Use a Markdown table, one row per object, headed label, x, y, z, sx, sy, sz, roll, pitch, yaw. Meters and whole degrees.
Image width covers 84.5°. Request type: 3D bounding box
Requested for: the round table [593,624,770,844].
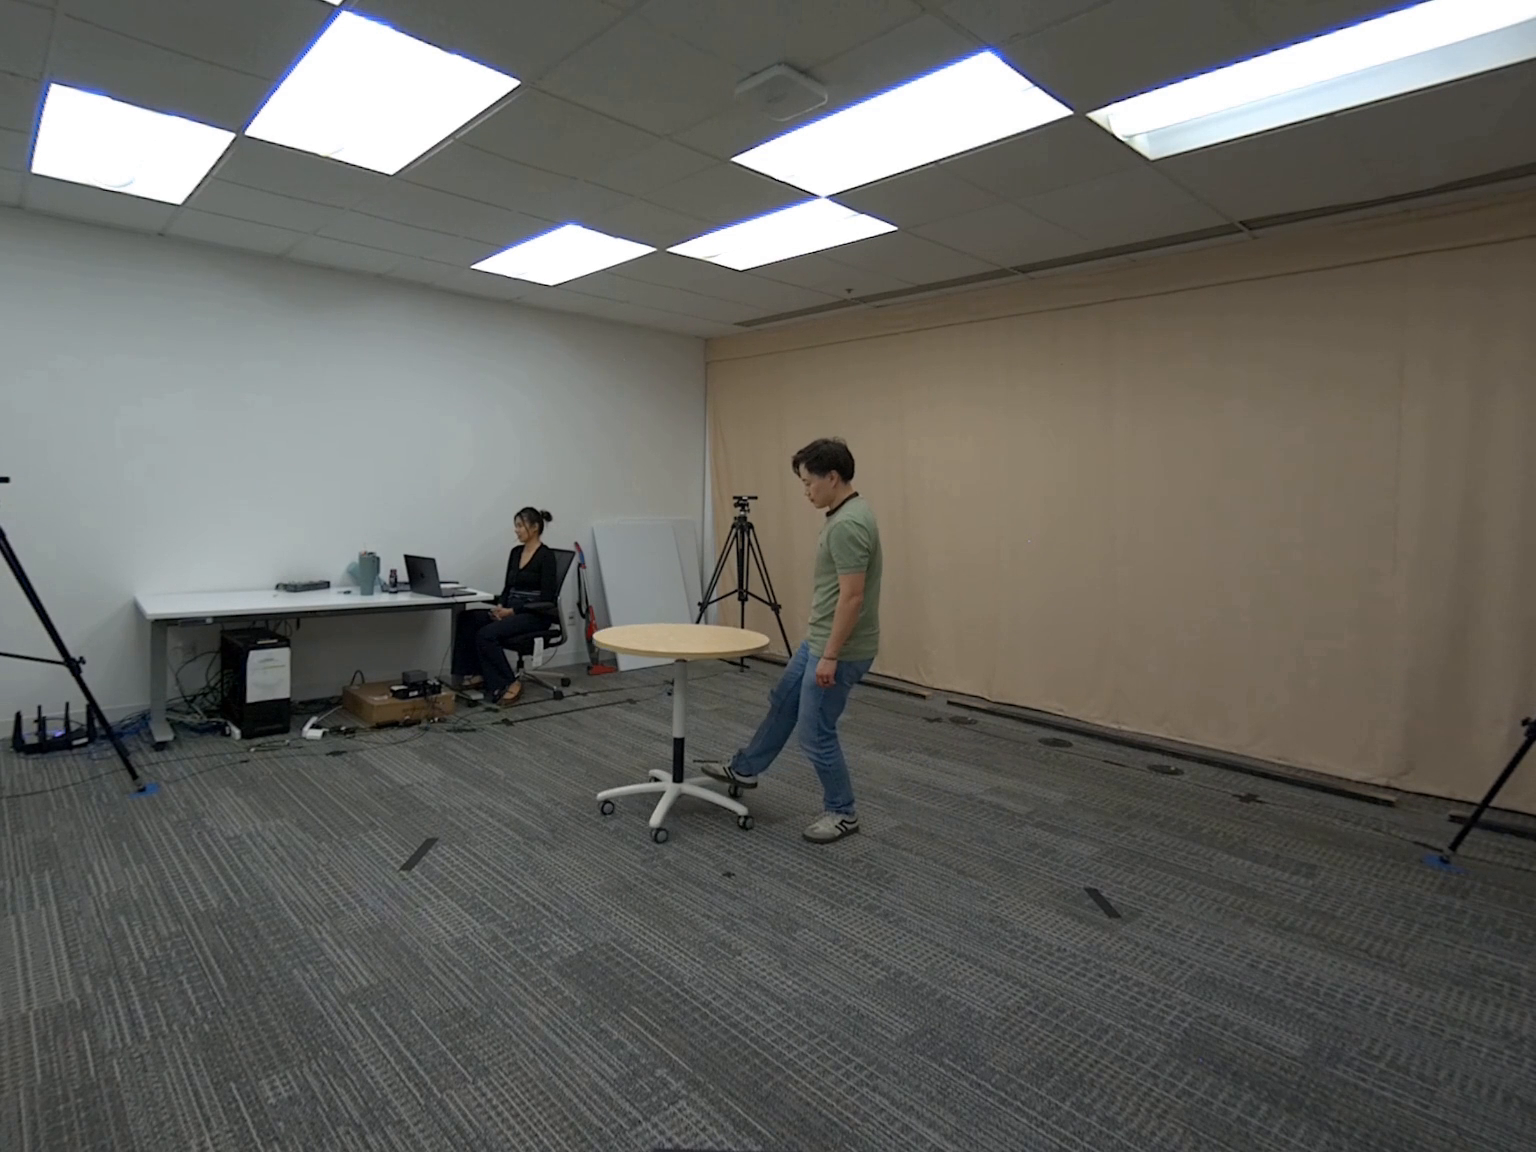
| label | x | y | z | sx | sy | sz | roll | pitch | yaw |
| --- | --- | --- | --- | --- | --- | --- | --- | --- | --- |
| round table | -0.394 | 0.655 | 3.676 | 0.763 | 0.792 | 0.766 | 2 | 4 | -1 |
